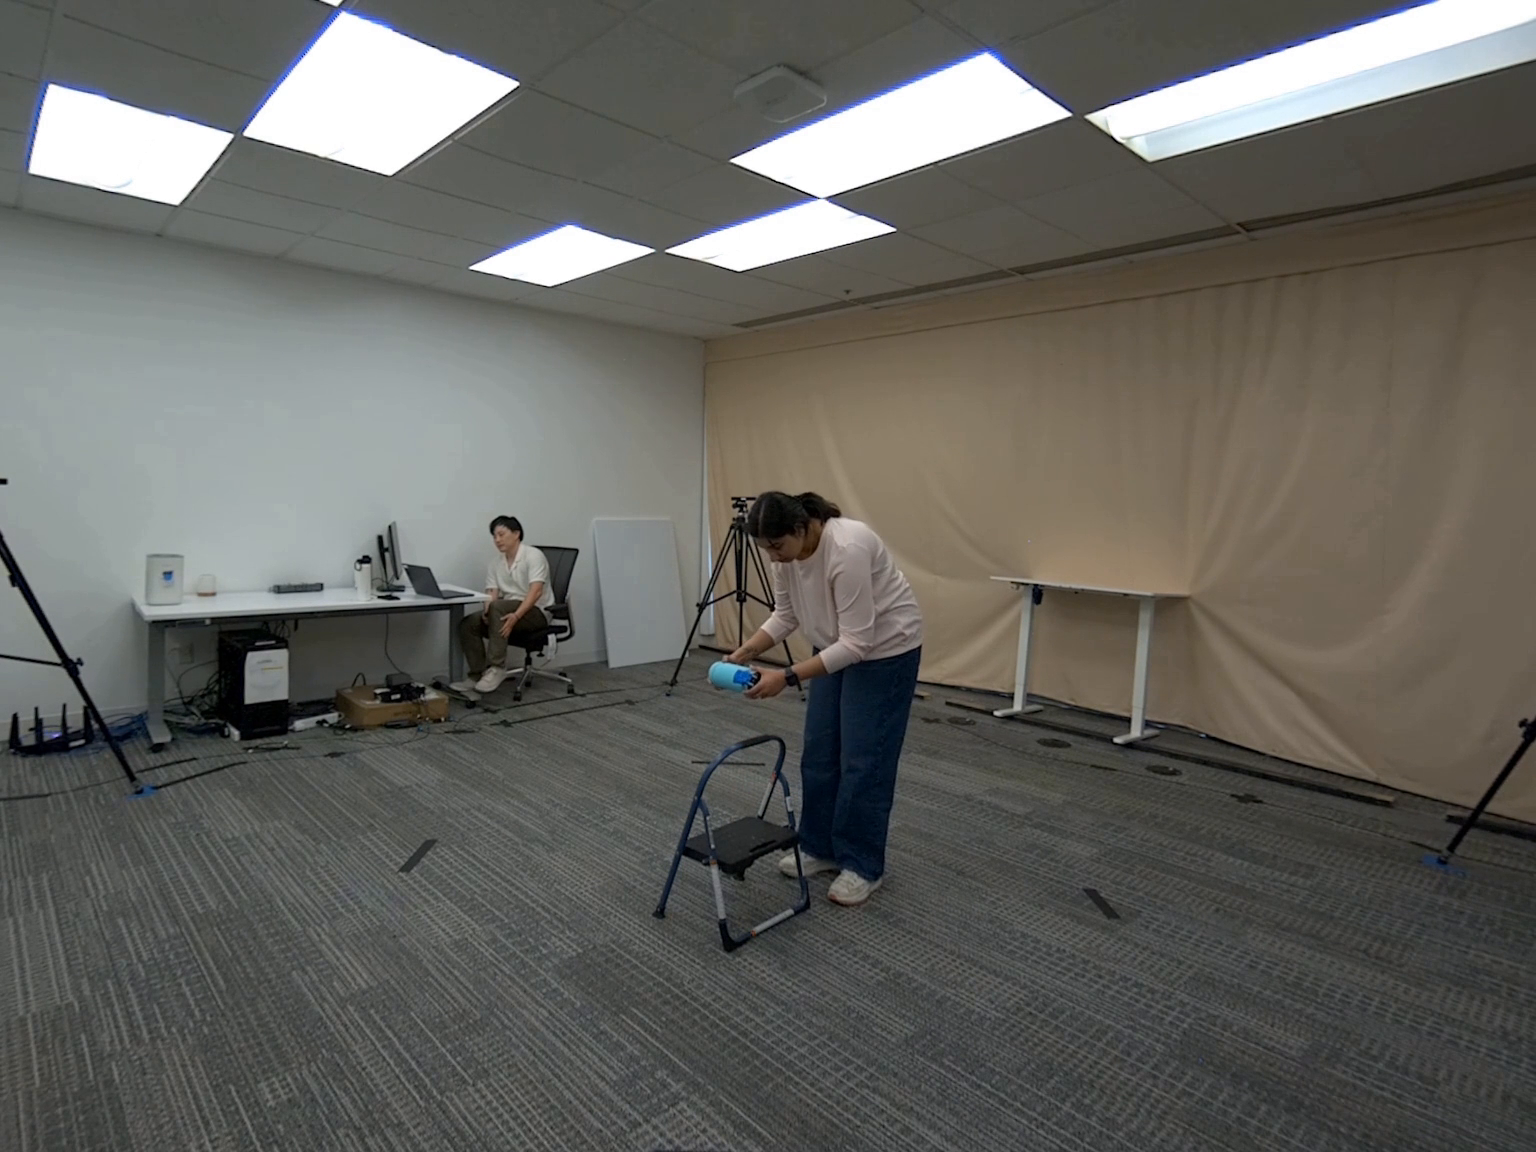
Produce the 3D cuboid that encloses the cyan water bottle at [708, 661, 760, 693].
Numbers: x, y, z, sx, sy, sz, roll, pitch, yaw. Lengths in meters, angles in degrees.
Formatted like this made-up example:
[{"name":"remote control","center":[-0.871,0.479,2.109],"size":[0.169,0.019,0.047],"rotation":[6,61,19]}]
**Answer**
[{"name":"cyan water bottle","center":[-0.115,0.355,2.904],"size":[0.090,0.092,0.289],"rotation":[-1,1,-30]}]
